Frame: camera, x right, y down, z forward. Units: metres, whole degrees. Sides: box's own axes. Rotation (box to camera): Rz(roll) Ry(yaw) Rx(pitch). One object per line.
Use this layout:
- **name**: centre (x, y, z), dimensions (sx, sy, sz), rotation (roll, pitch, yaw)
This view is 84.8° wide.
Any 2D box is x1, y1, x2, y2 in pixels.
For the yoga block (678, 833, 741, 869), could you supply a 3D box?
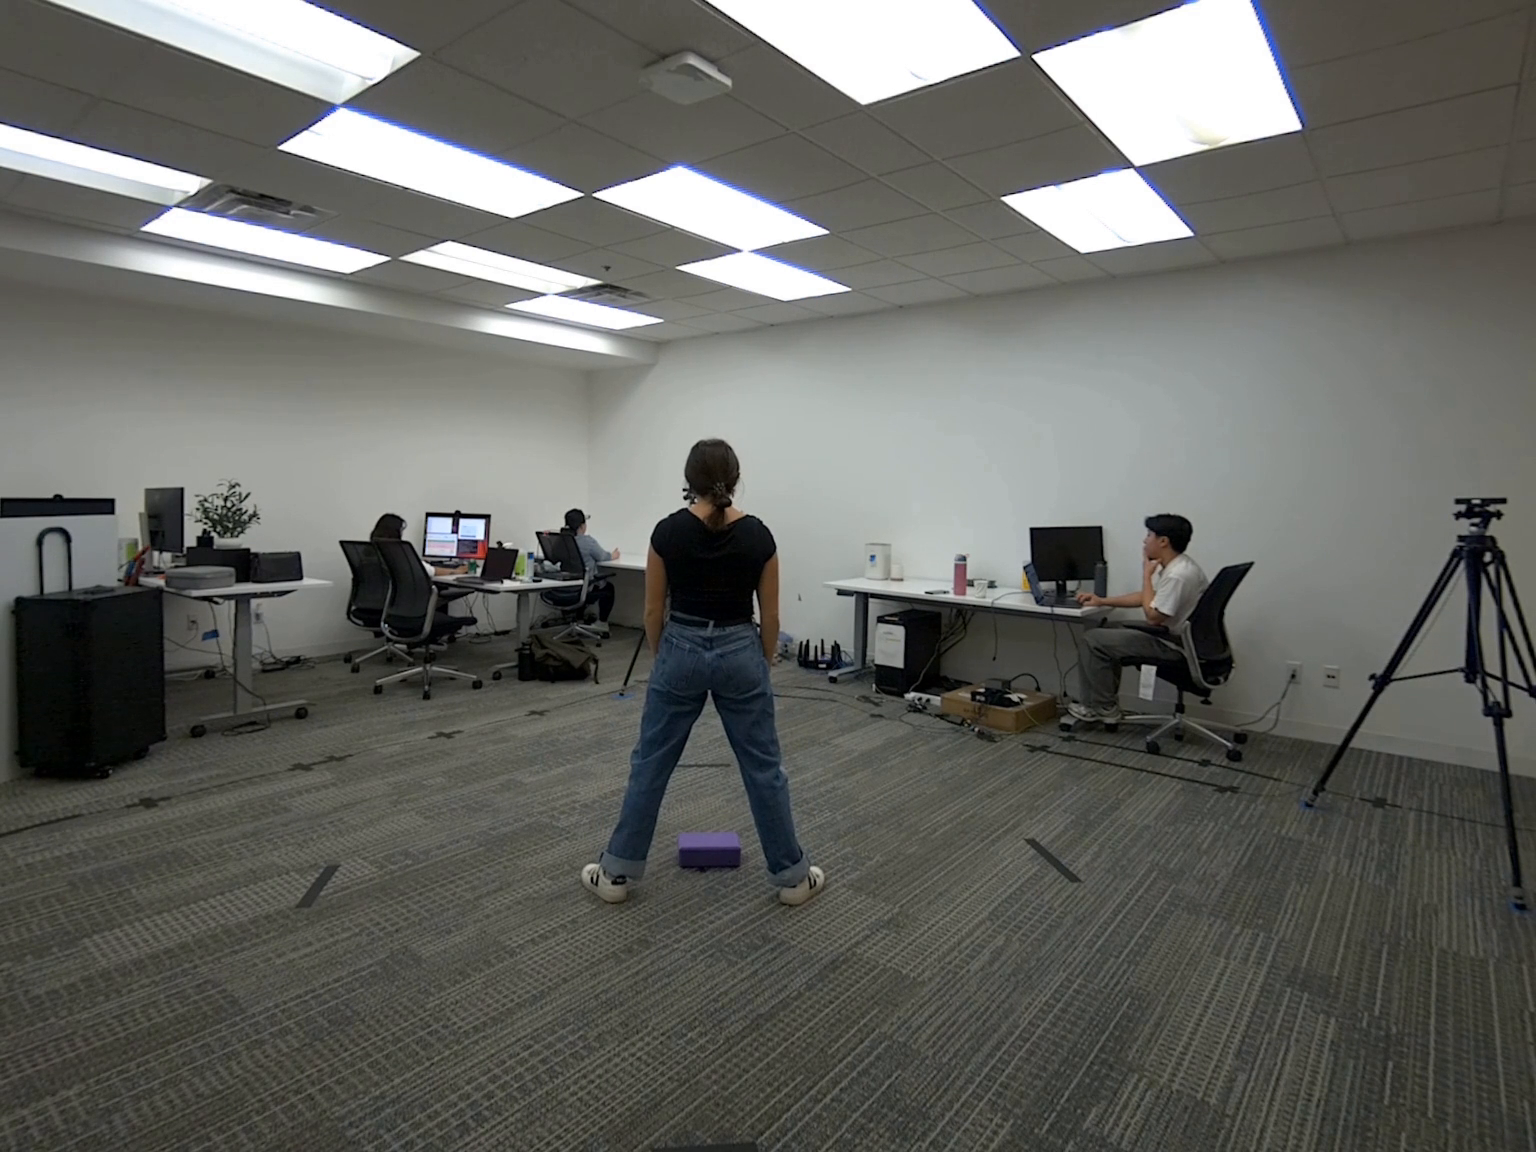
- **yoga block**: centre (-0.220, 1.017, 3.191), dimensions (0.228, 0.076, 0.150), rotation (2, 4, -4)
